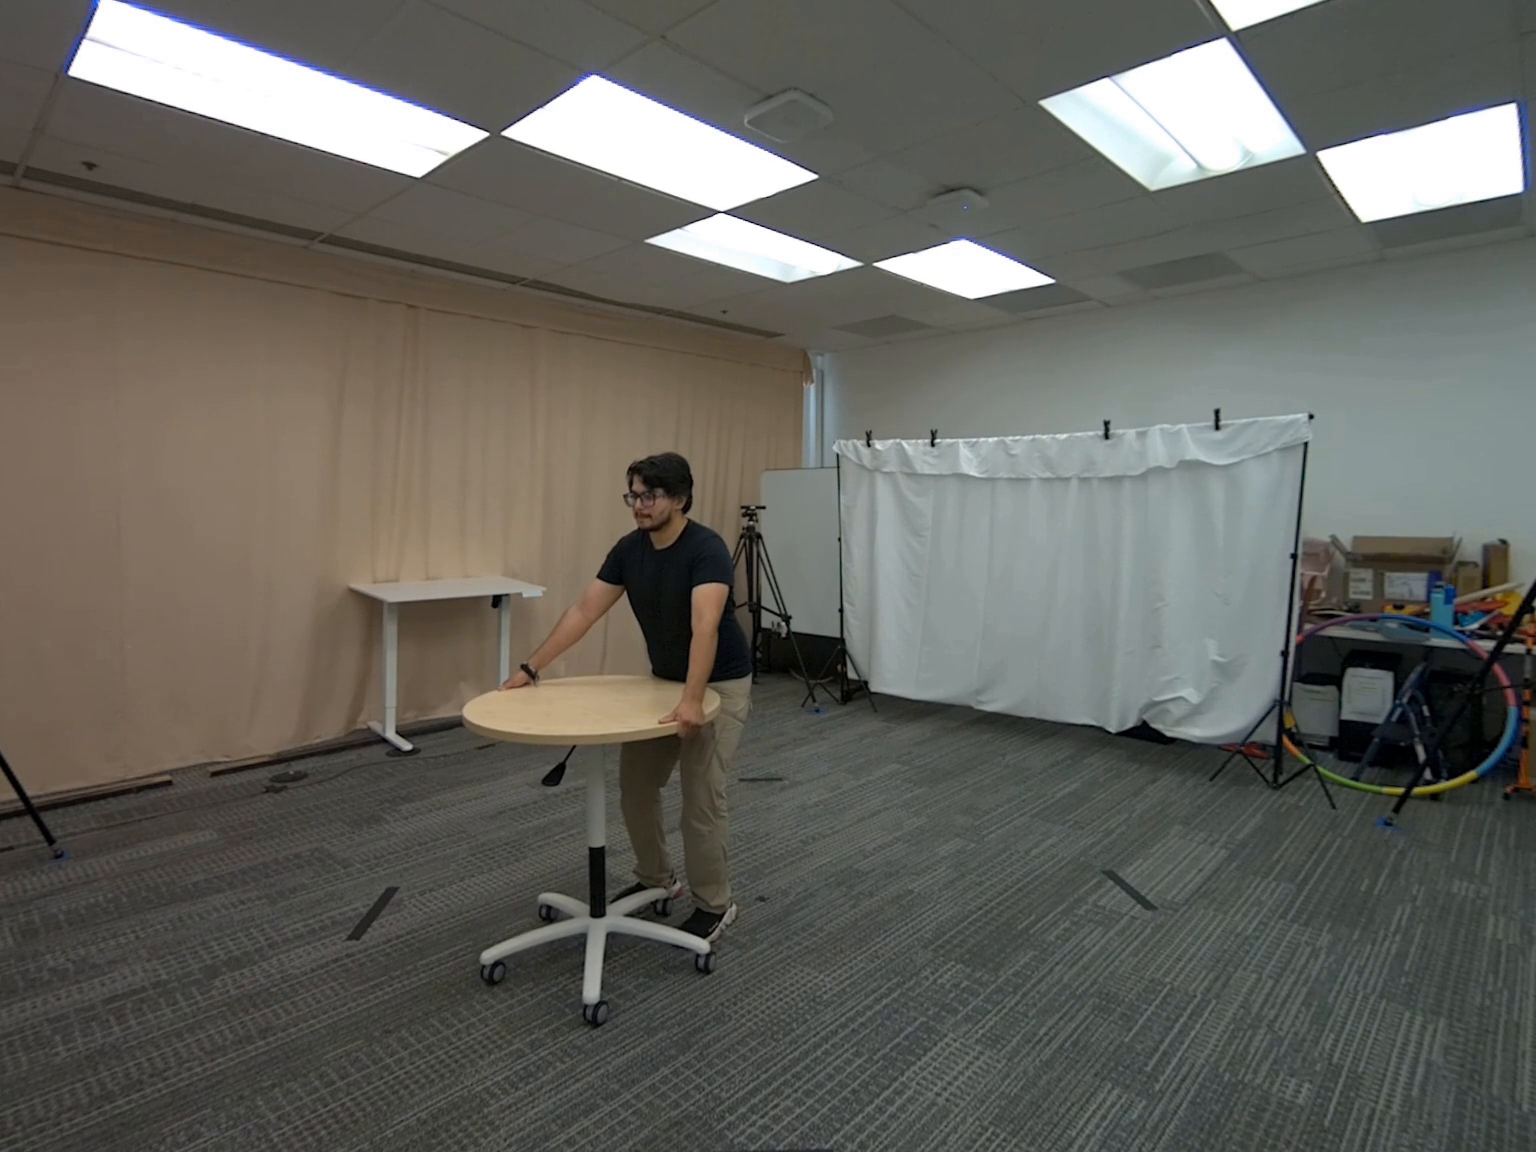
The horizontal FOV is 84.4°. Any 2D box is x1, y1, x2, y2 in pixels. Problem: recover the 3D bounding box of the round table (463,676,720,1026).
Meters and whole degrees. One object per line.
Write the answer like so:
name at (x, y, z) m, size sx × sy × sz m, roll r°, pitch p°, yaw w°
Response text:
round table at (-0.509, 0.774, 2.545) m, size 0.784 × 0.784 × 0.788 m, roll -1°, pitch 4°, yaw -2°
